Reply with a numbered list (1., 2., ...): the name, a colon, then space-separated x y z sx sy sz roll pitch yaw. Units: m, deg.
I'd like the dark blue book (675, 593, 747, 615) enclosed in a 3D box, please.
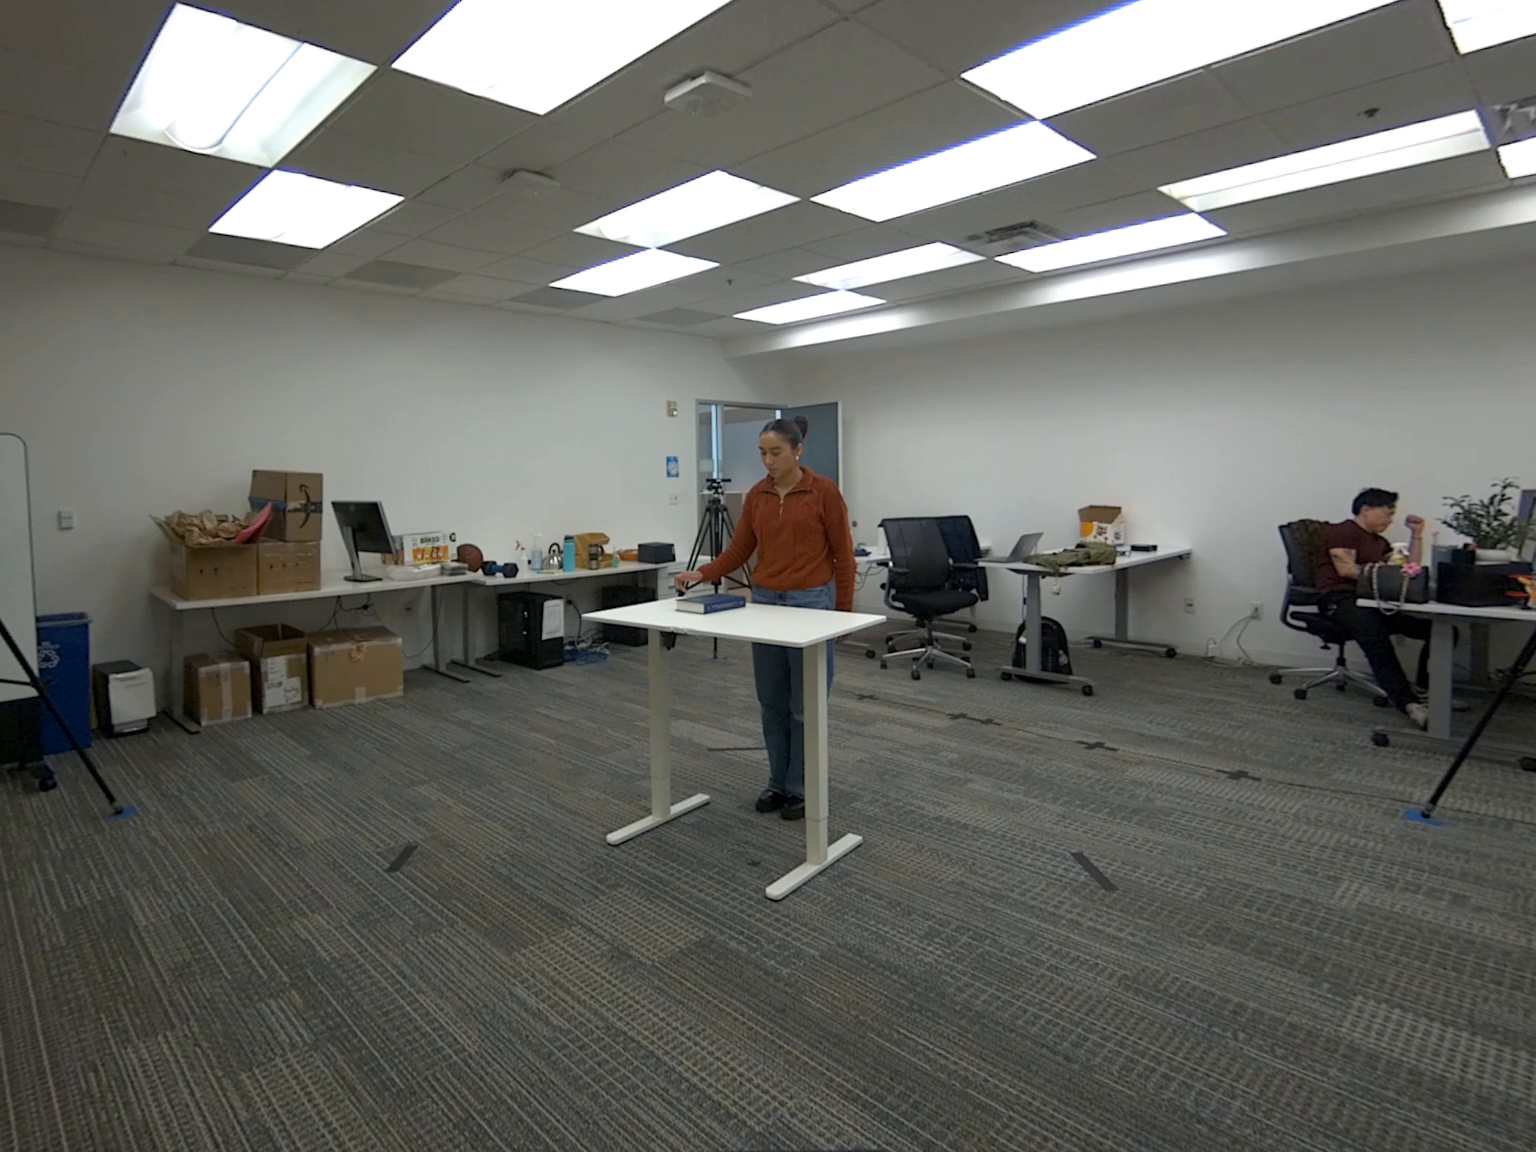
1. dark blue book: -0.227 0.111 3.408 0.168 0.045 0.239 5 9 40
